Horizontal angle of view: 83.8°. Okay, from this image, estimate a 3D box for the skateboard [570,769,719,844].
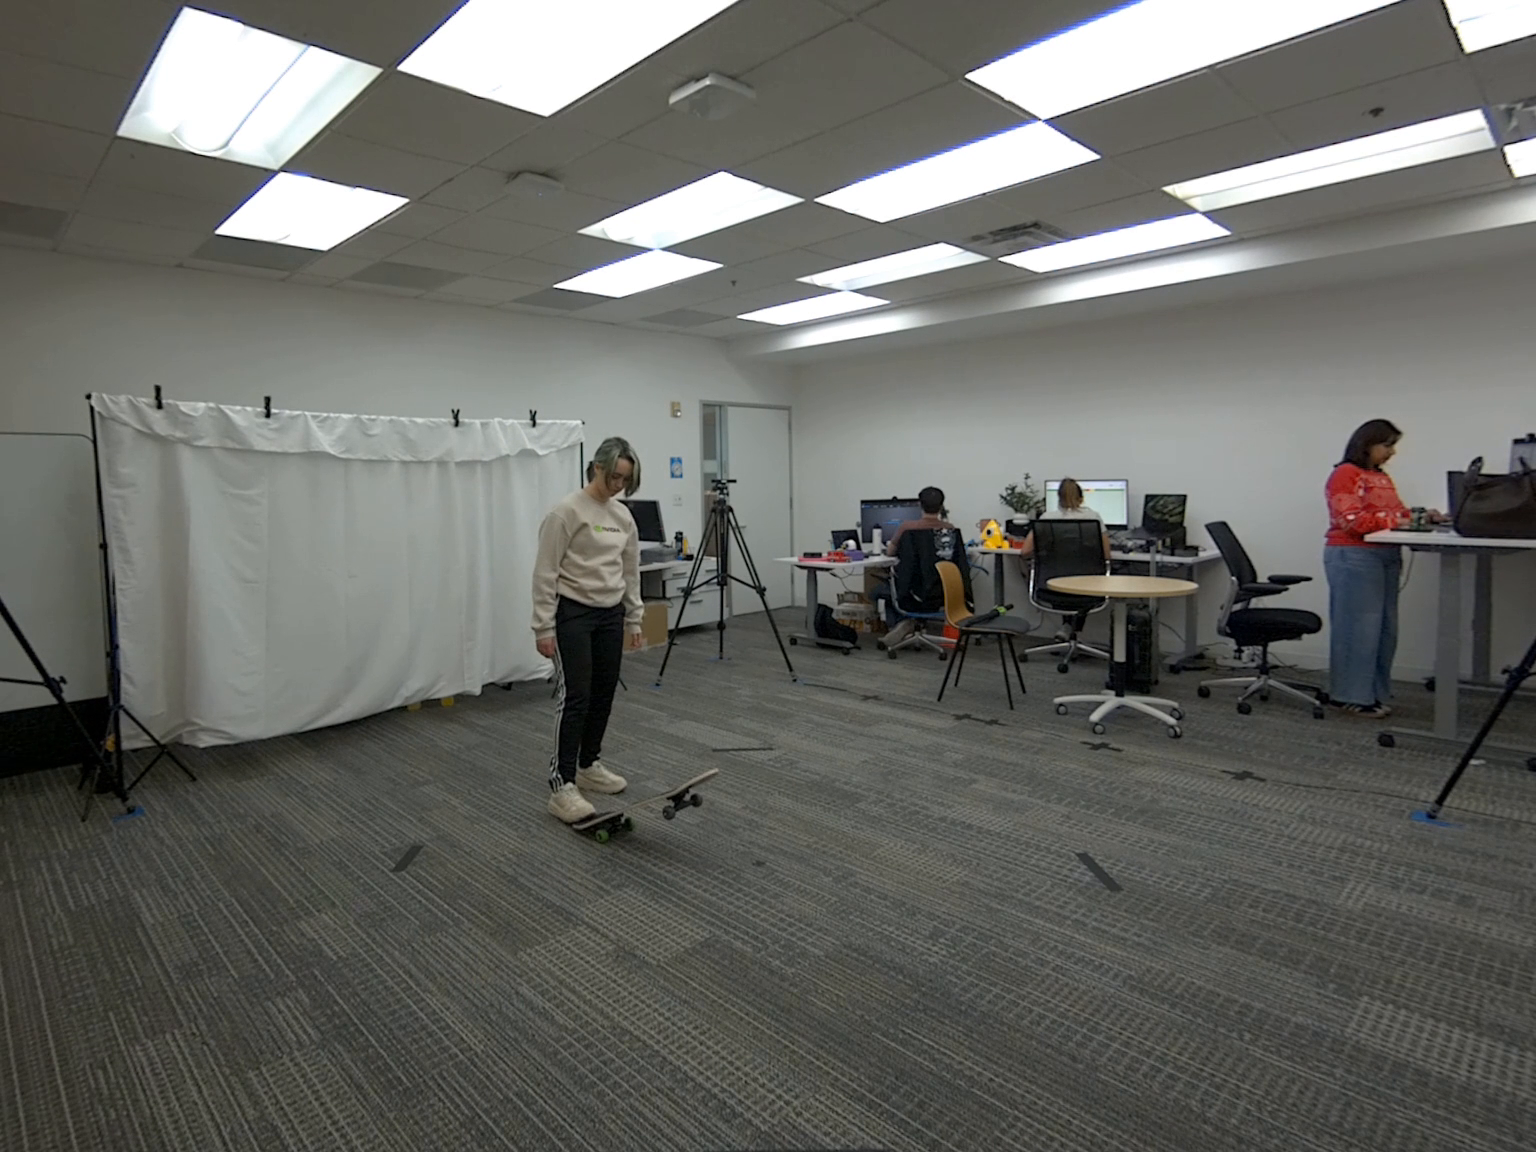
[{"bbox_3d":[-0.472,0.907,3.269,0.794,0.112,0.188,-28,-12,36],"label":"skateboard"}]
